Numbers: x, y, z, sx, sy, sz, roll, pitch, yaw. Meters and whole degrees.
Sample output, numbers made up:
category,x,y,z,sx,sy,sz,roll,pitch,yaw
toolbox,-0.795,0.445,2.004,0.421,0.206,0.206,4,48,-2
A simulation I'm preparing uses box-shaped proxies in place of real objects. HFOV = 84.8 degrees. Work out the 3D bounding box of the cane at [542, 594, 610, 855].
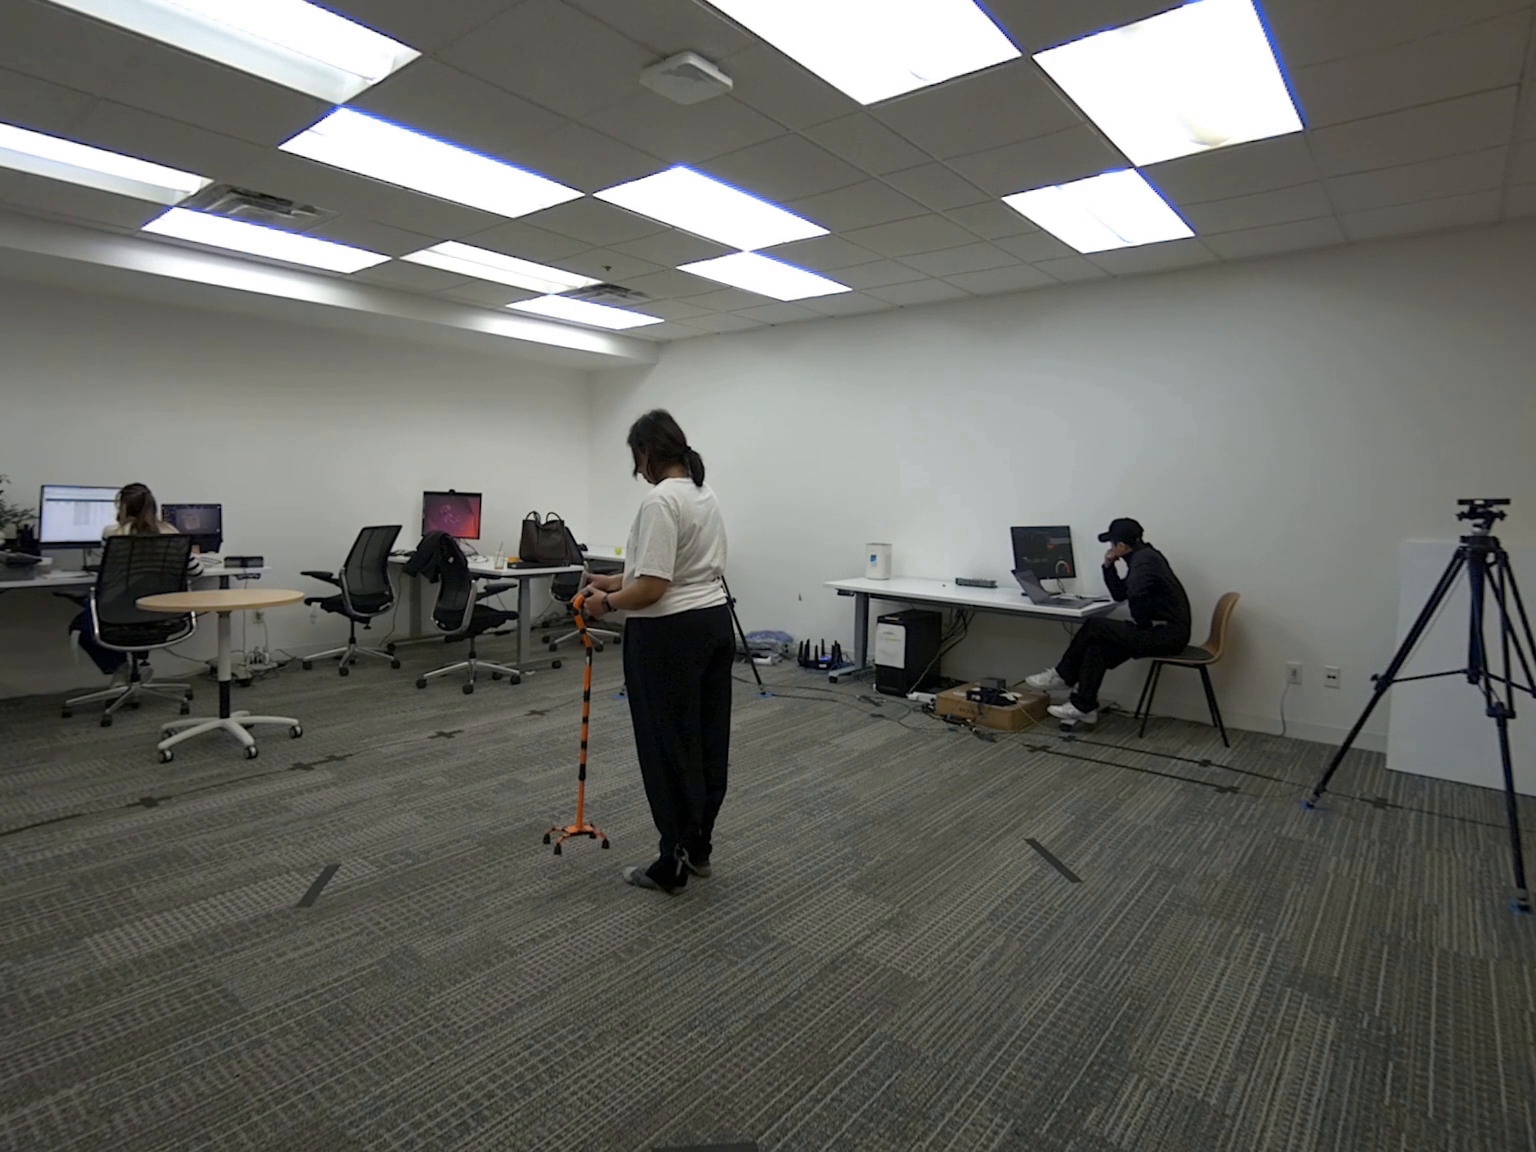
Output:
category,x,y,z,sx,sy,sz,roll,pitch,yaw
cane,-0.678,0.515,3.056,0.200,0.910,0.156,3,-3,-33
